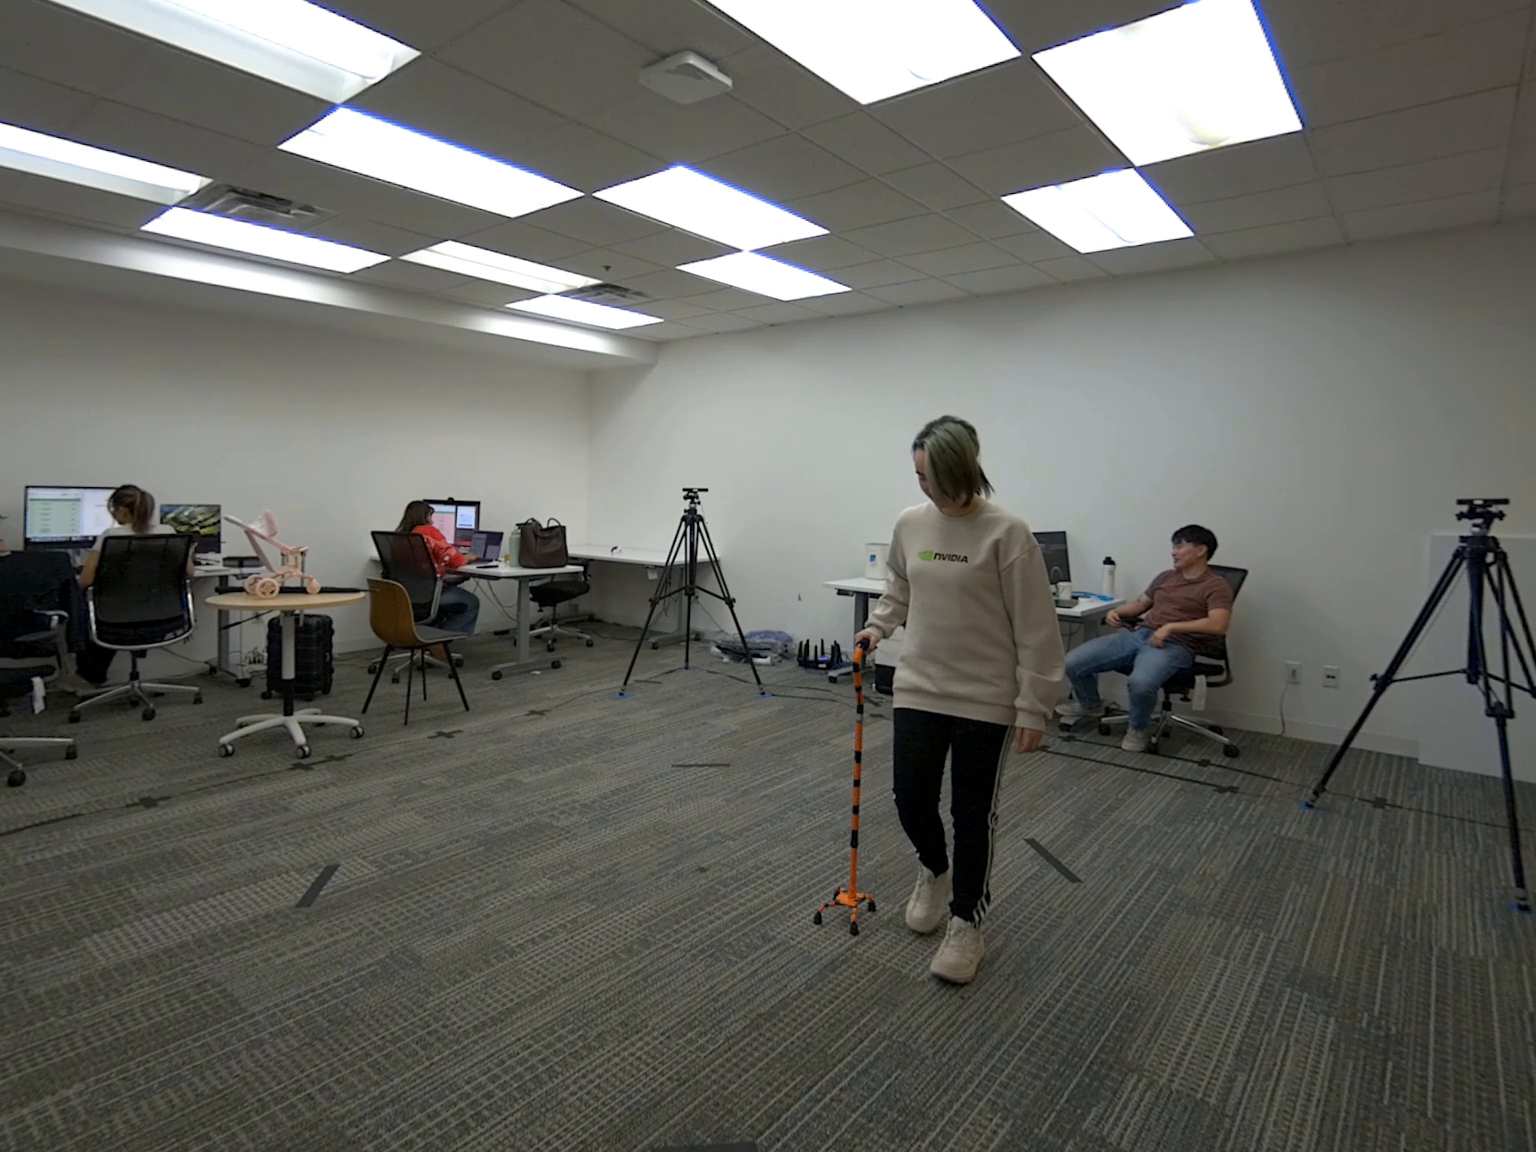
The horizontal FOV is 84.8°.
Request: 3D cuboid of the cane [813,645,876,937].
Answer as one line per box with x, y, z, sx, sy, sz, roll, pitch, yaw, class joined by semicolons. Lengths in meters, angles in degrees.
0.258;0.660;2.772;0.155;0.906;0.201;2;3;25;cane
